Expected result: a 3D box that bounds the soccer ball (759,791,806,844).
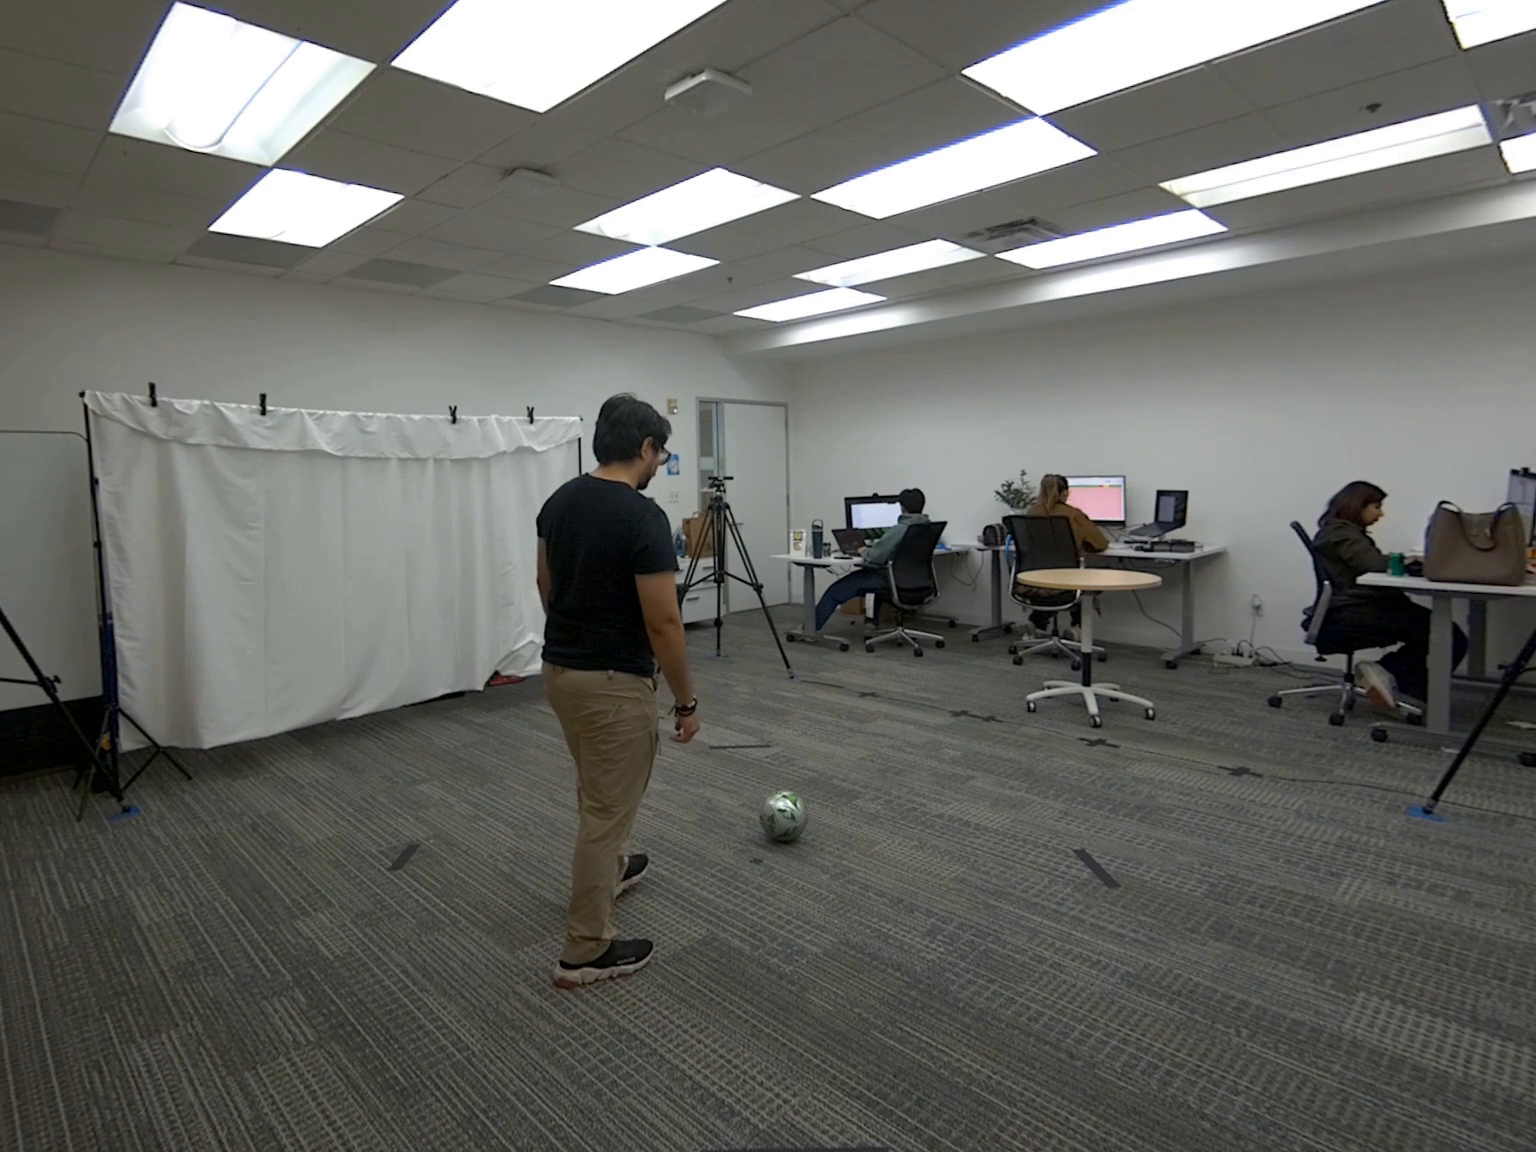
[{"bbox_3d":[0.064,0.923,3.285,0.187,0.187,0.188,-1,5,-2],"label":"soccer ball"}]
